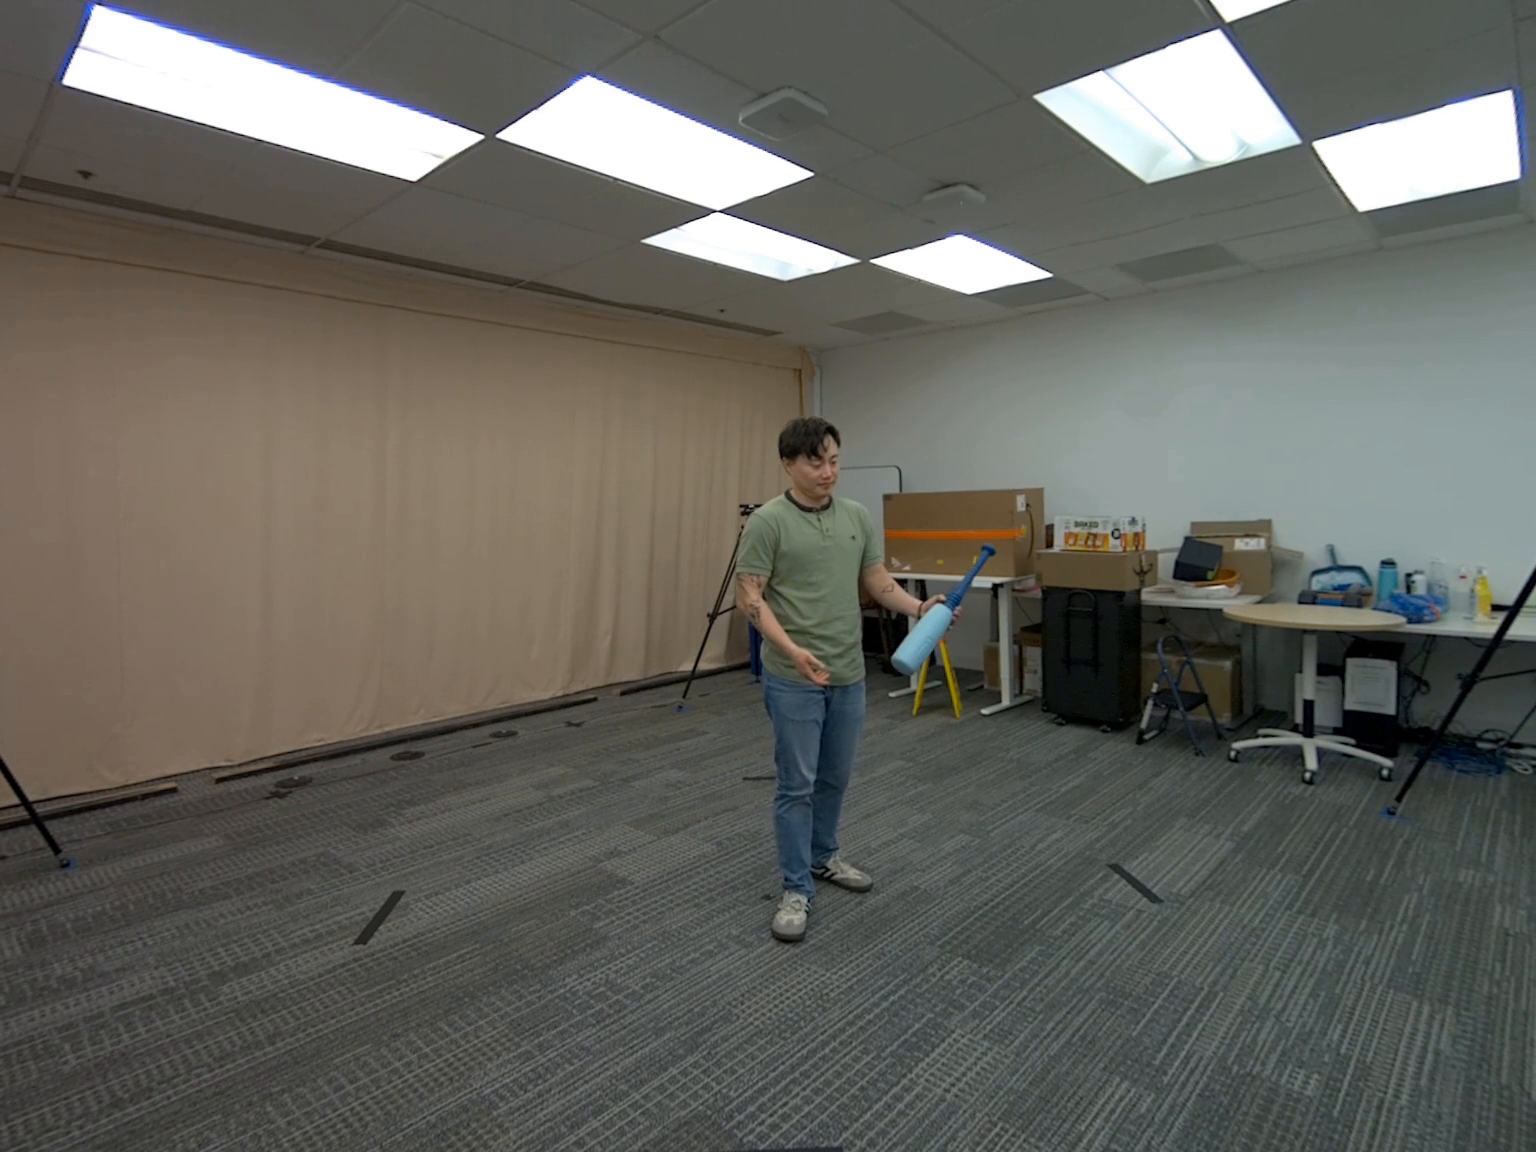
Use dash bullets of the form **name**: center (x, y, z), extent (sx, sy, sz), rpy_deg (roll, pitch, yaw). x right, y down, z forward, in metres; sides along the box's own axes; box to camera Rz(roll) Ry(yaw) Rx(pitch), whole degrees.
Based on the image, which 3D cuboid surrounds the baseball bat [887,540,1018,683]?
- **baseball bat**: center (0.591, 0.101, 2.695), extent (0.540, 0.087, 0.091), rpy_deg (-47, 24, -20)
